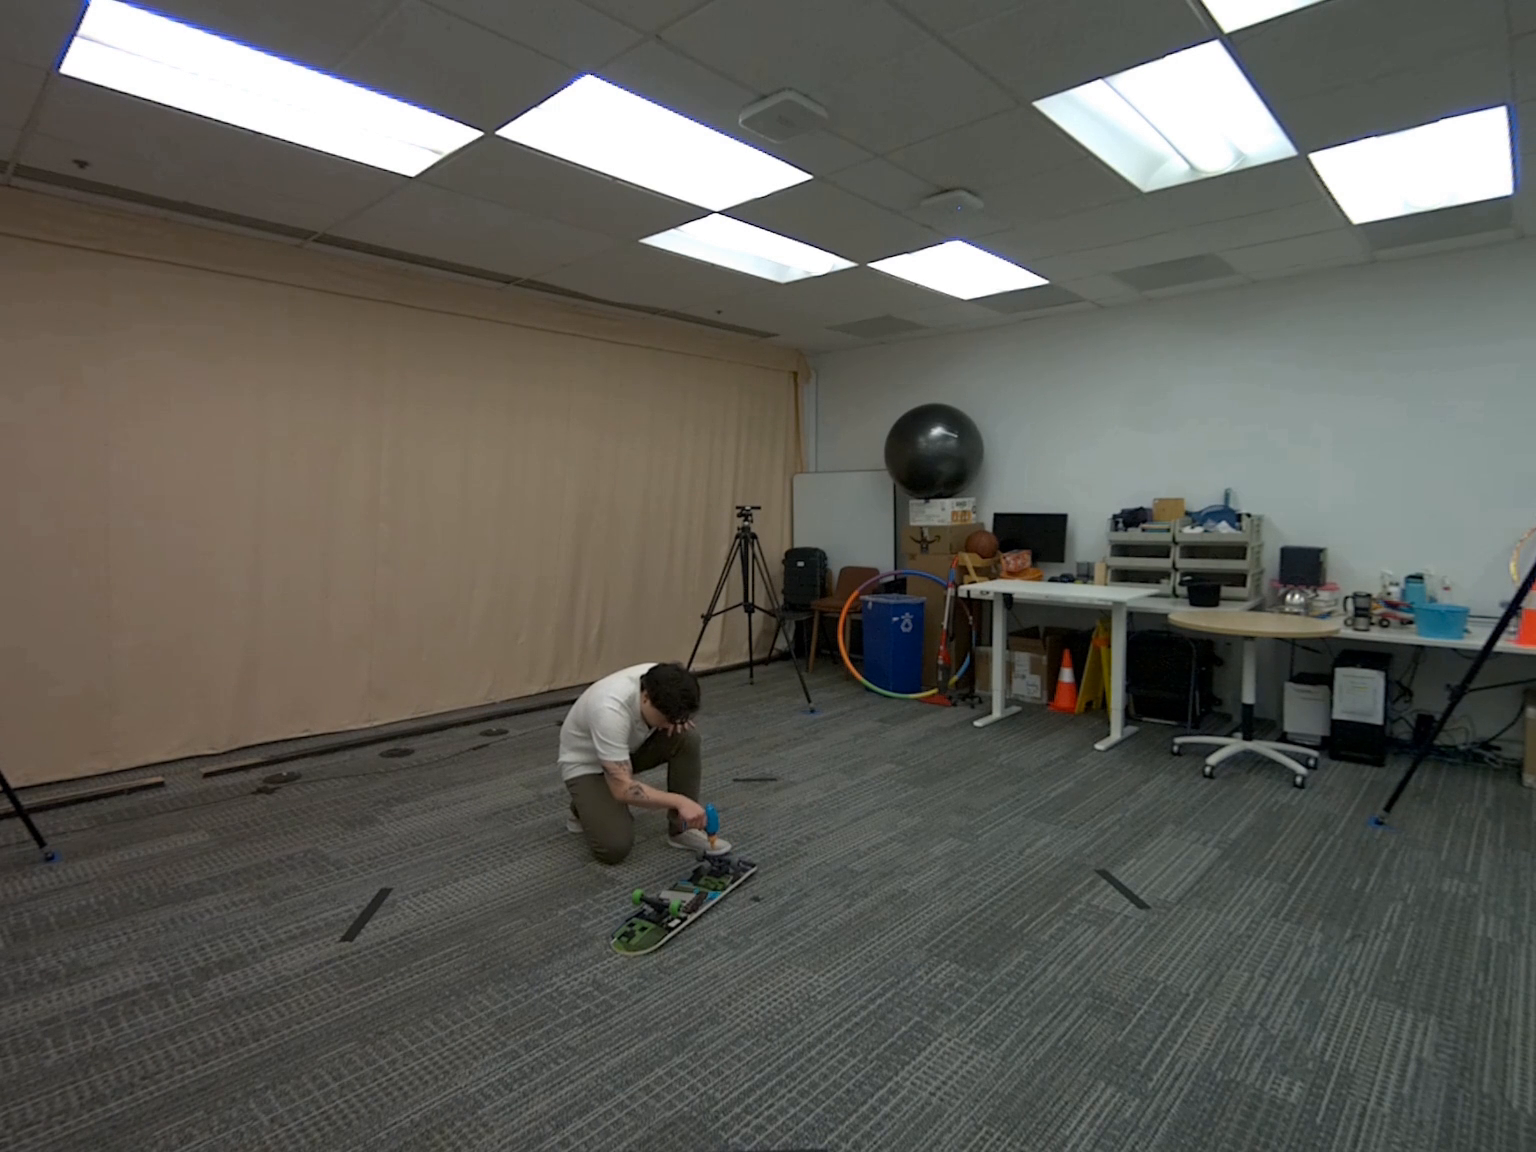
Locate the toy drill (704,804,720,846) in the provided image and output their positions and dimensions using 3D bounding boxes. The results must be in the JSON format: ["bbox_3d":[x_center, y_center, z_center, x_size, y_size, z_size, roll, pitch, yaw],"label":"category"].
[{"bbox_3d":[-0.244,0.933,3.075,0.145,0.168,0.062,-5,11,-8],"label":"toy drill"}]
